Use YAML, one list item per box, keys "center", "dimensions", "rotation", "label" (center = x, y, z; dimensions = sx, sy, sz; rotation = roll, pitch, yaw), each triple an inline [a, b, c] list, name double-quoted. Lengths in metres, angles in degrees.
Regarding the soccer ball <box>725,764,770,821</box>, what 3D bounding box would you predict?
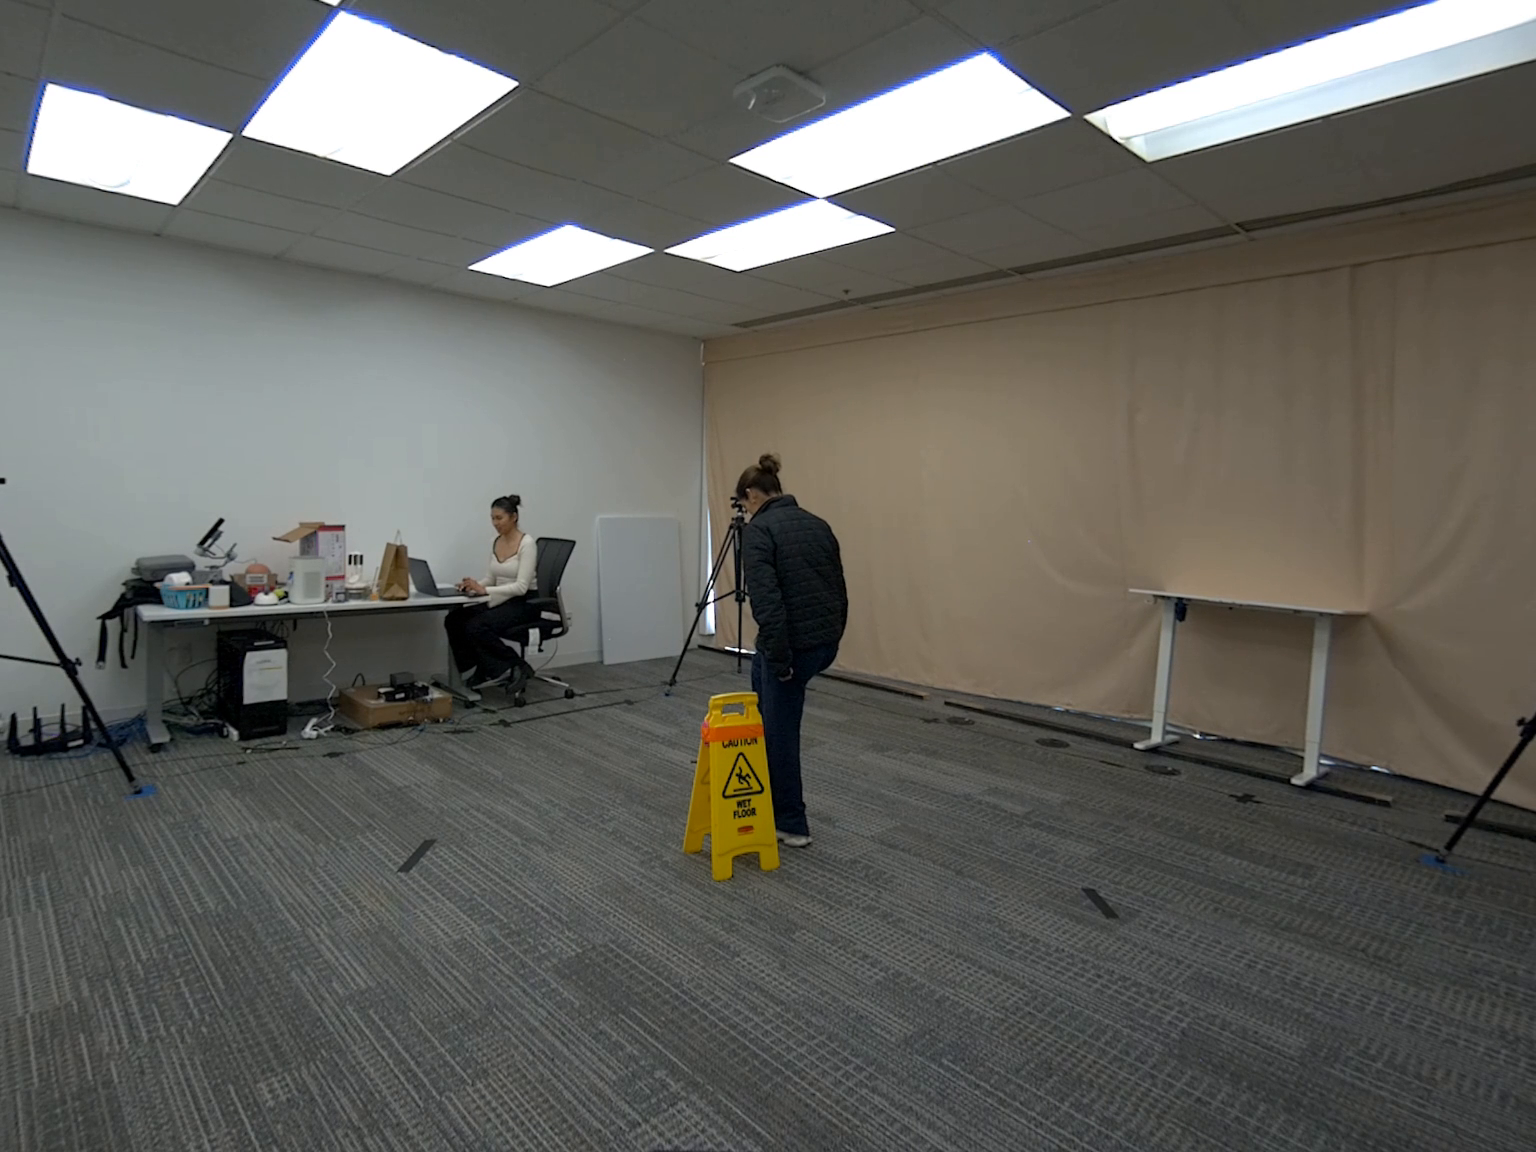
- center: [-0.095, 0.961, 3.777]
  dimensions: [0.187, 0.187, 0.188]
  rotation: [1, 4, -1]
  label: "soccer ball"
